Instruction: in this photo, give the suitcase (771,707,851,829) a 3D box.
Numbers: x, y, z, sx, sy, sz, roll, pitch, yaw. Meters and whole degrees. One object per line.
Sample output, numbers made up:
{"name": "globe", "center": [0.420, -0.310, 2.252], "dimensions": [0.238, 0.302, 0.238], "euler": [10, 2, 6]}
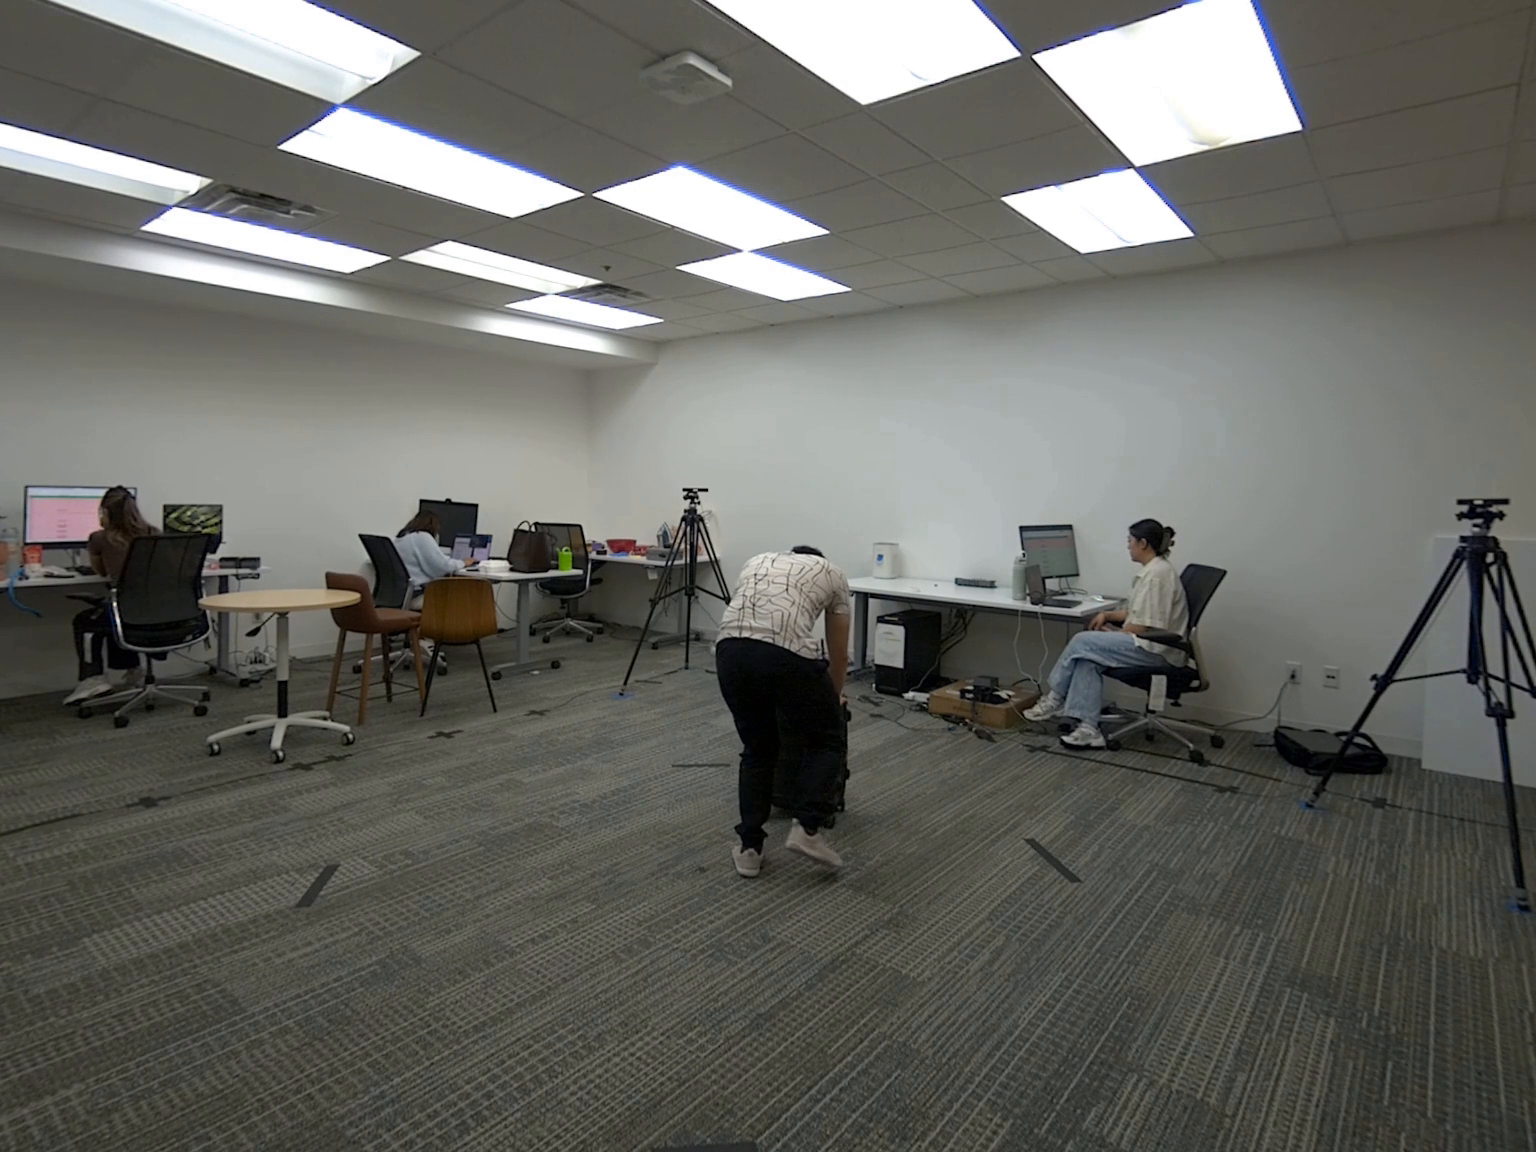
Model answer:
{"name": "suitcase", "center": [0.142, 0.746, 3.684], "dimensions": [0.383, 0.549, 0.243], "euler": [3, 1, 18]}
